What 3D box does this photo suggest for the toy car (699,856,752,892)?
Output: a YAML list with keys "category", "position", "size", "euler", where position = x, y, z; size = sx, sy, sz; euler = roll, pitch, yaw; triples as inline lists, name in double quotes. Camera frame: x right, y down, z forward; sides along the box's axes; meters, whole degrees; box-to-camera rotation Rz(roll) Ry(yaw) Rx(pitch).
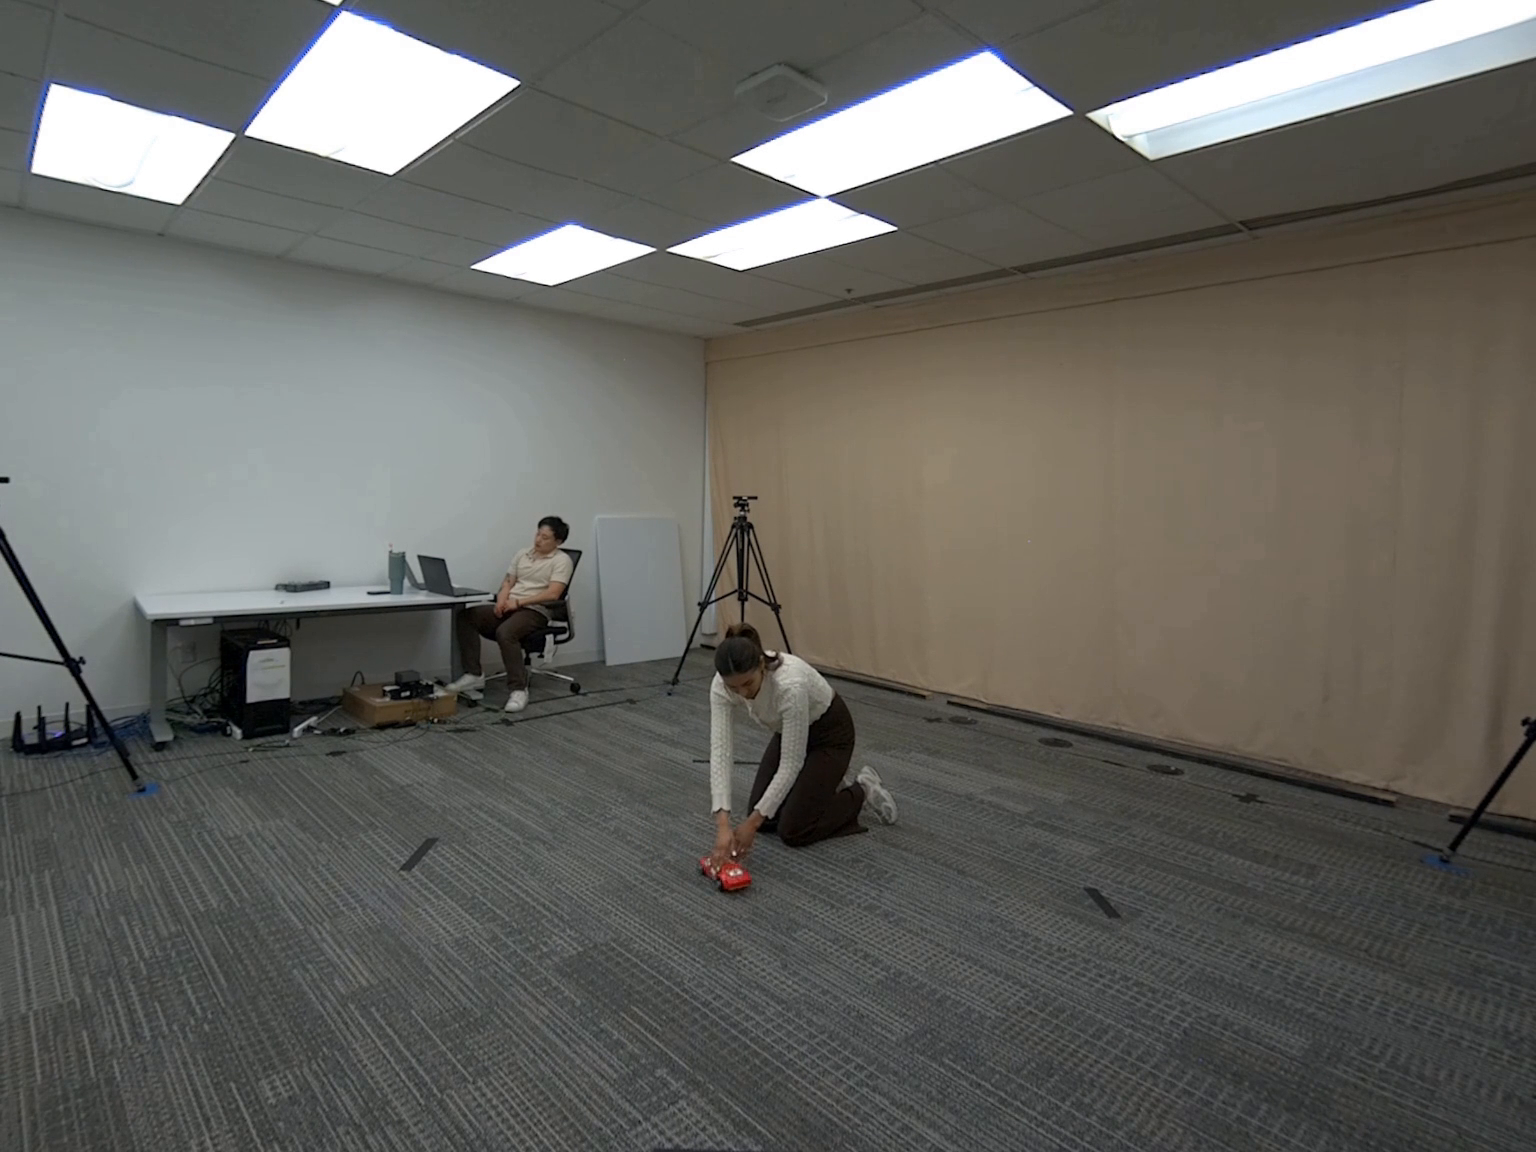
- category: "toy car"
  position: [-0.161, 1.076, 3.043]
  size: [0.128, 0.083, 0.258]
  euler: [-1, -5, -29]
